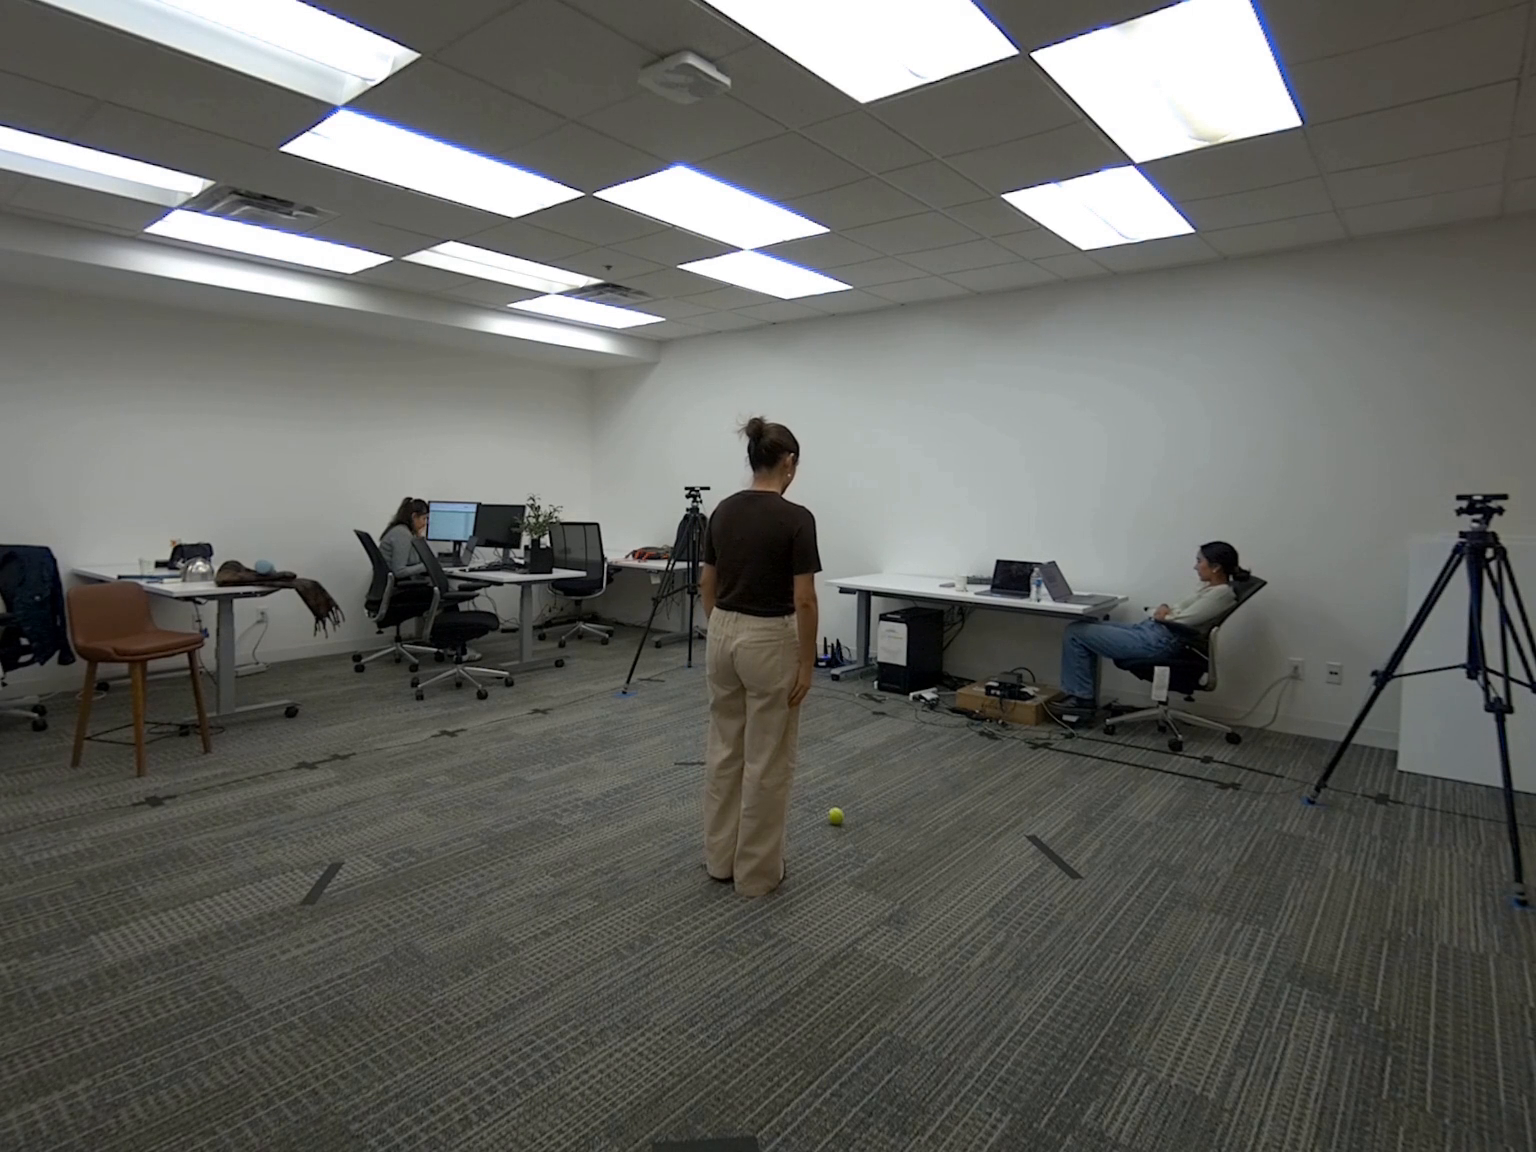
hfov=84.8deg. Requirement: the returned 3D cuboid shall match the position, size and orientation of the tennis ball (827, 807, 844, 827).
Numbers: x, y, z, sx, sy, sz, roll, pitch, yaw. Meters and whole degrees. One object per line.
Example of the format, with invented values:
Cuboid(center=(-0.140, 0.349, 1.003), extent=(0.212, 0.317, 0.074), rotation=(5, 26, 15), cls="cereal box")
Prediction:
Cuboid(center=(0.278, 0.978, 3.538), extent=(0.066, 0.066, 0.067), rotation=(1, 4, -2), cls="tennis ball")
